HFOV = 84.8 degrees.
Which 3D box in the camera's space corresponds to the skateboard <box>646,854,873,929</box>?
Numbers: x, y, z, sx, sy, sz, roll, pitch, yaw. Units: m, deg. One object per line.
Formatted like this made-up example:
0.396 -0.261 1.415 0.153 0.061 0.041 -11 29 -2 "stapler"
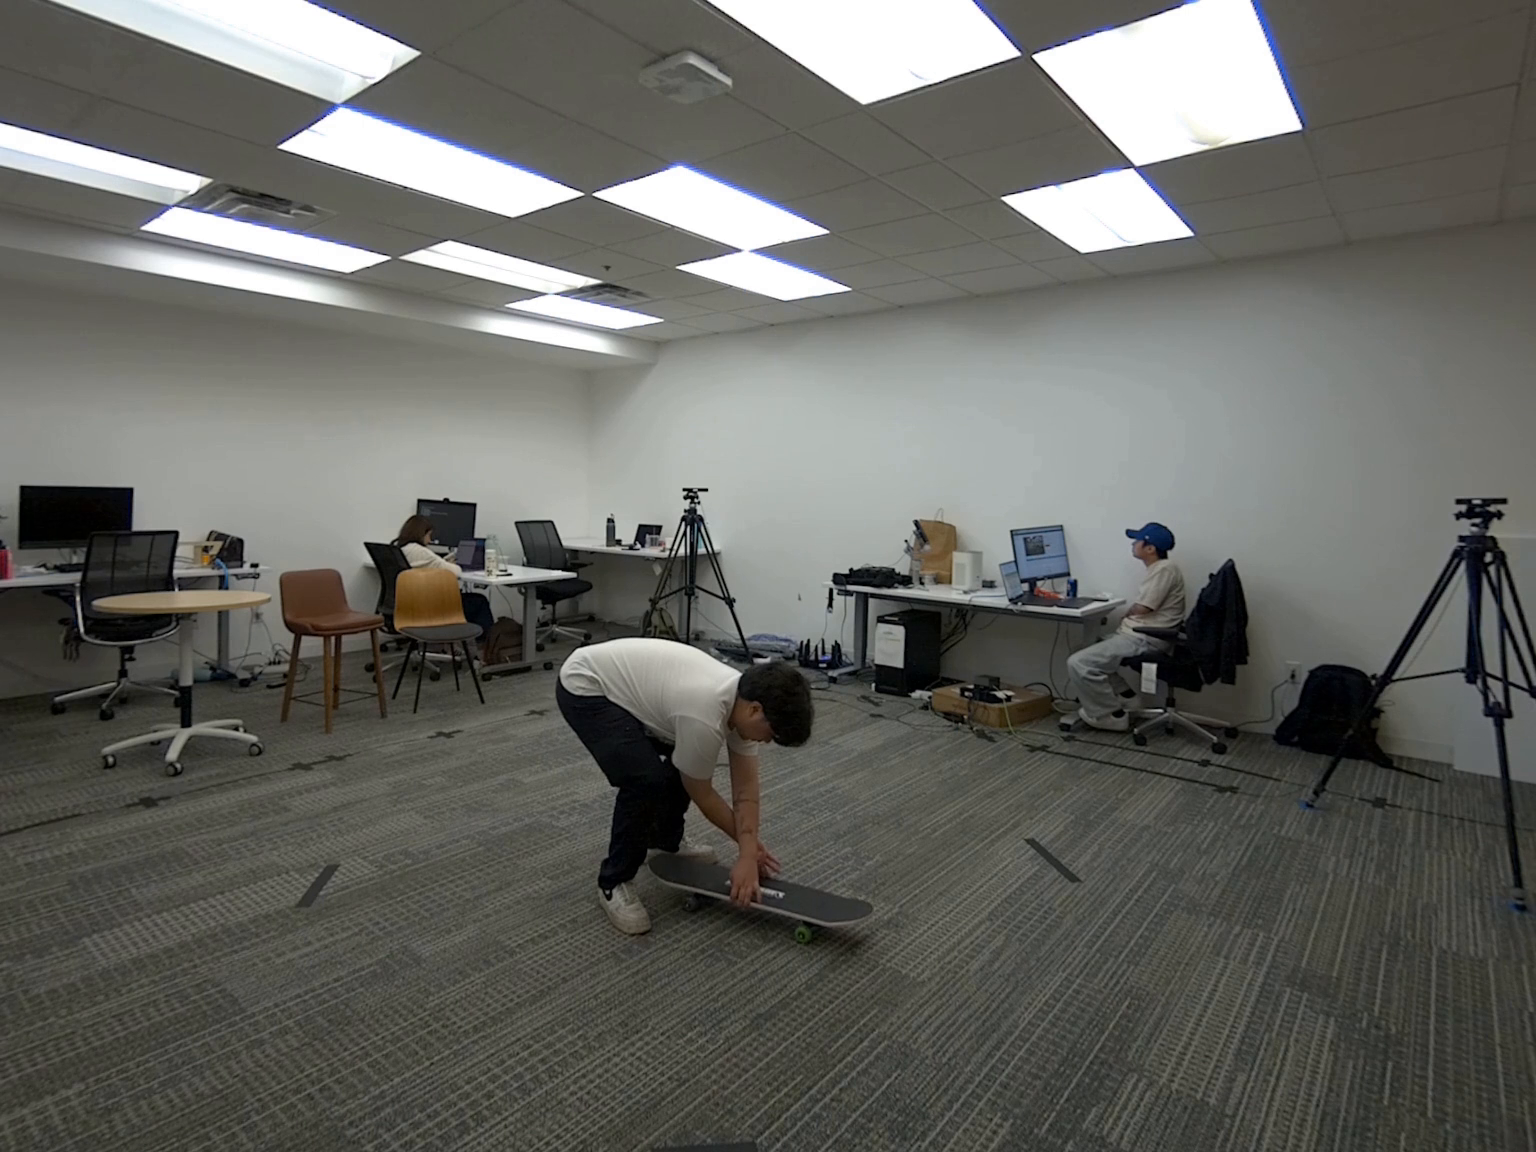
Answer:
-0.051 1.049 2.771 0.805 0.110 0.189 4 5 24 "skateboard"
